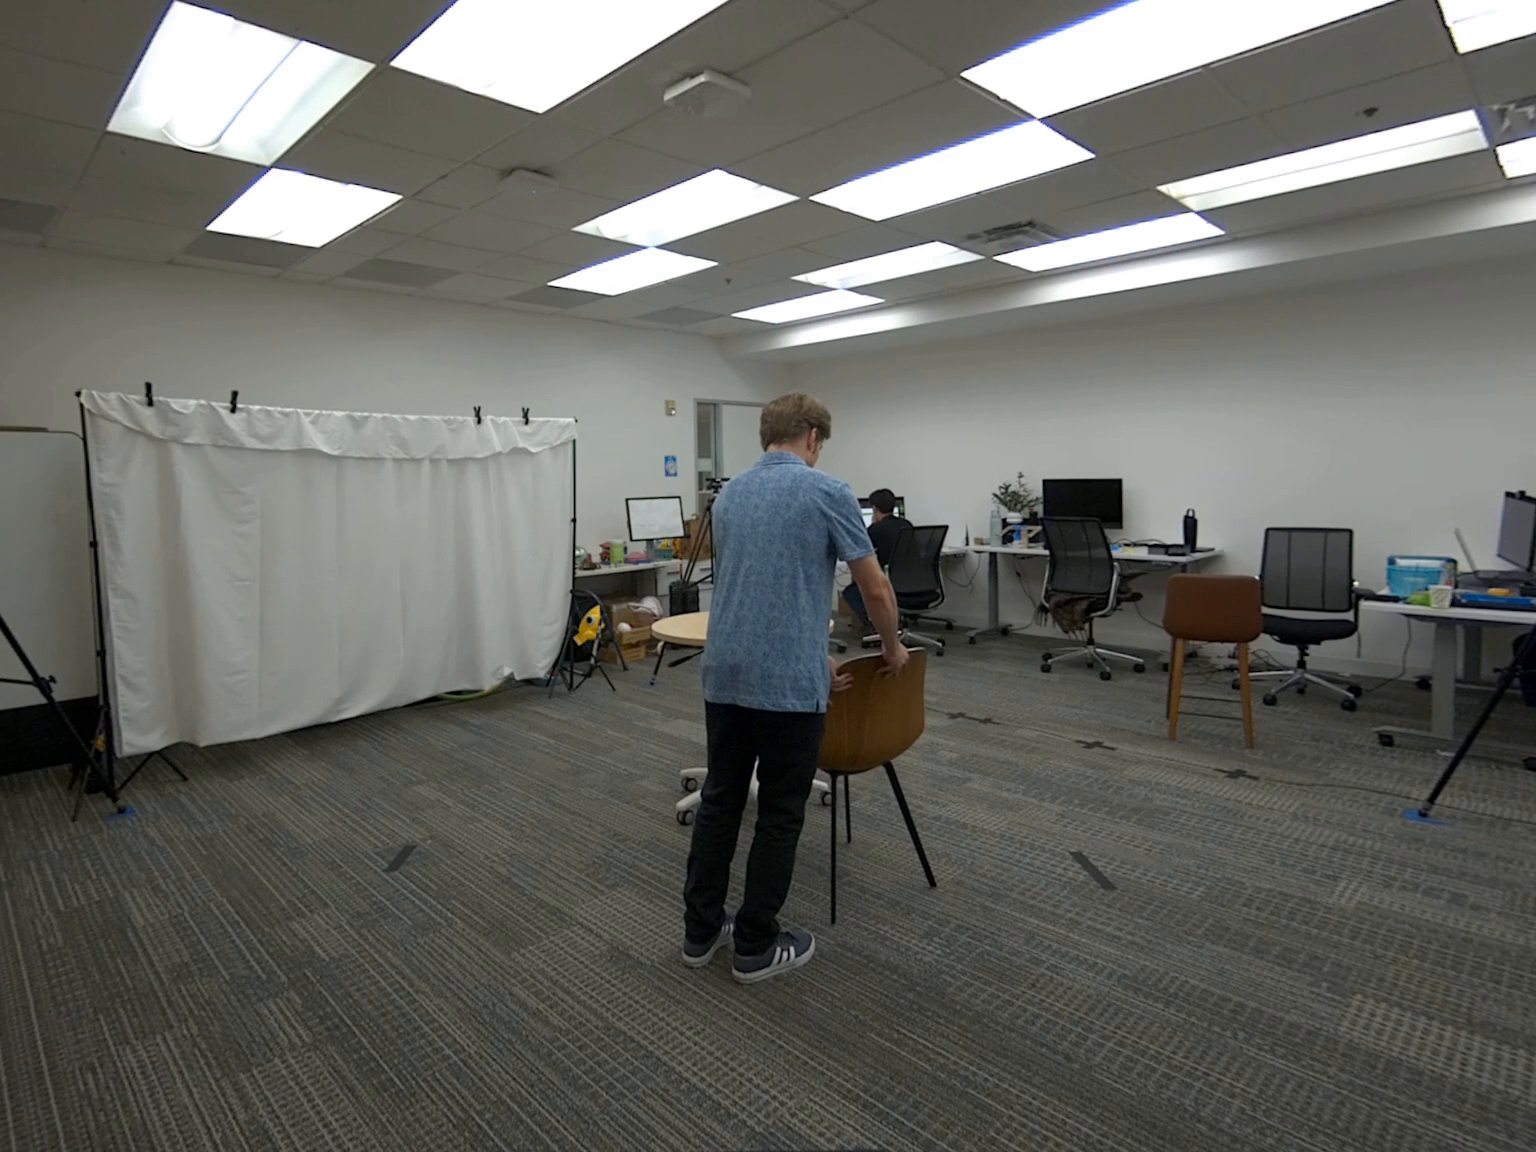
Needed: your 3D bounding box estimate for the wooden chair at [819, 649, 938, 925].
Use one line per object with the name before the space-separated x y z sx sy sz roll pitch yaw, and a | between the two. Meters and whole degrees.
wooden chair | 0.248 0.629 2.948 0.466 0.871 0.540 -4 9 -34
